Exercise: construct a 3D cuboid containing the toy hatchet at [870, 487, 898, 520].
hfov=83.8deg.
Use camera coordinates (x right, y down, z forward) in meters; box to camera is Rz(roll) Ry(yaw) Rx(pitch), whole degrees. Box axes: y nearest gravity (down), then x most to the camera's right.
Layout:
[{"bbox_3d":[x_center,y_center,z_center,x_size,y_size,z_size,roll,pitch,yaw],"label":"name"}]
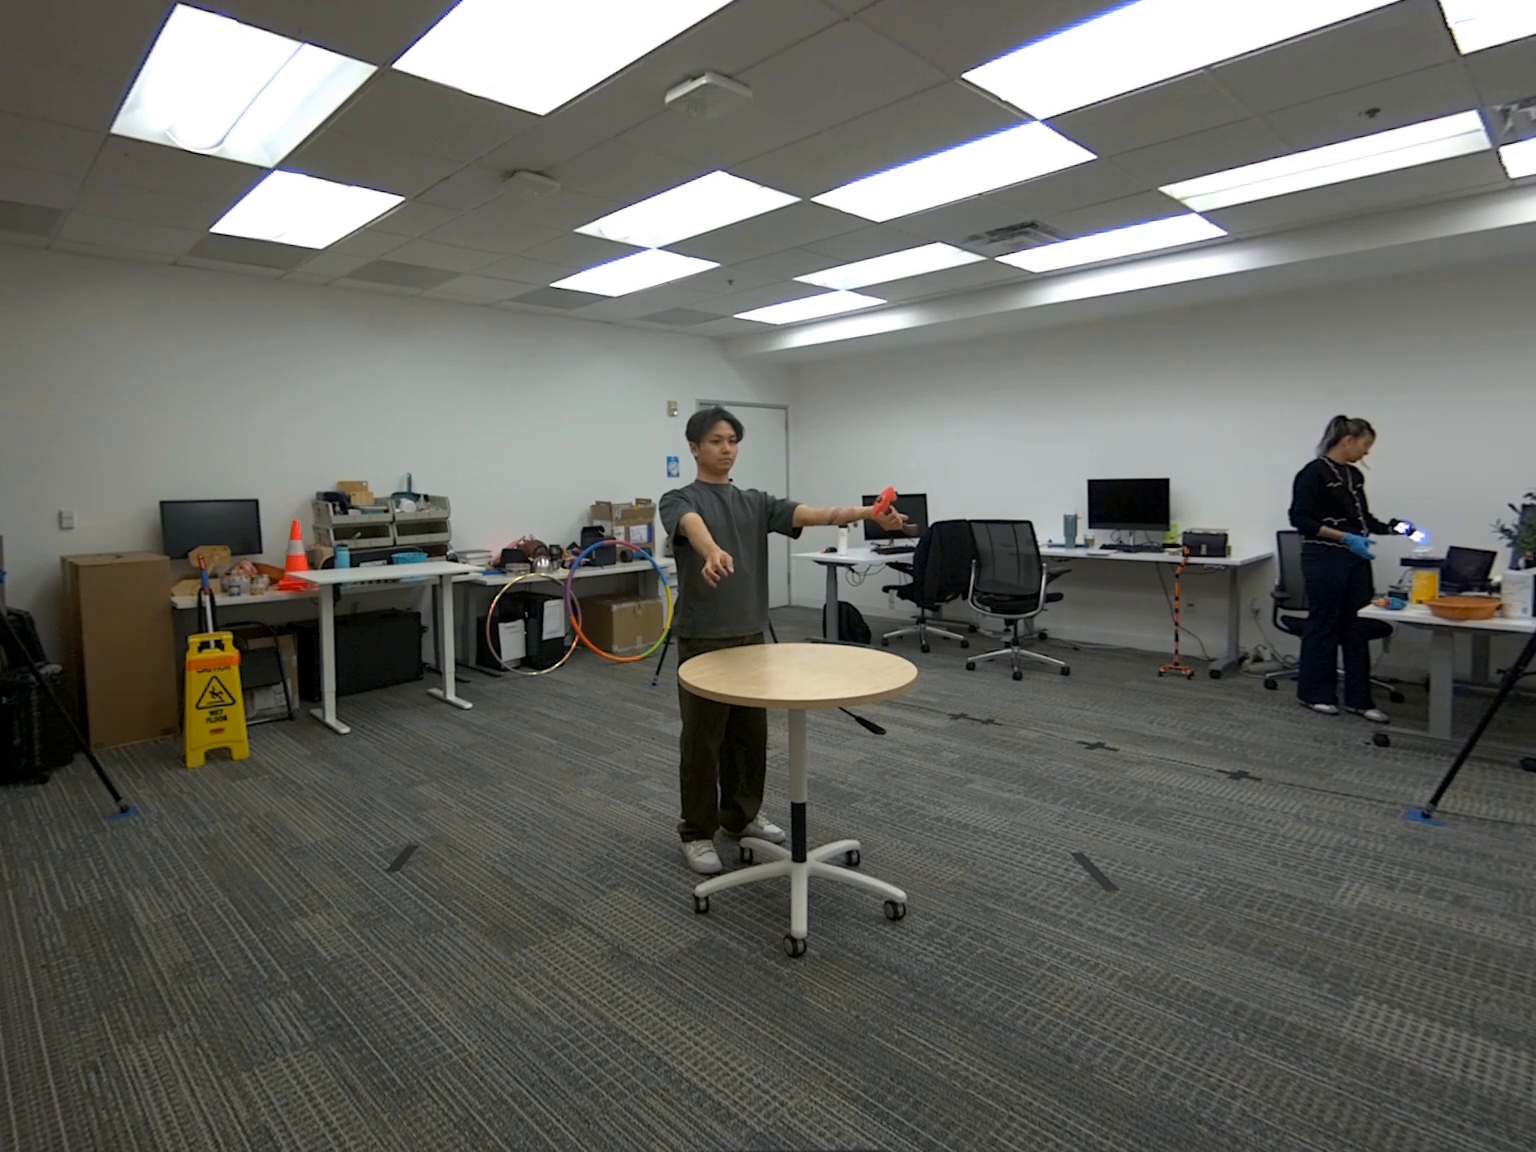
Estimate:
[{"bbox_3d":[0.450,-0.239,2.989,0.261,0.131,0.030,14,0,-43],"label":"toy hatchet"}]
